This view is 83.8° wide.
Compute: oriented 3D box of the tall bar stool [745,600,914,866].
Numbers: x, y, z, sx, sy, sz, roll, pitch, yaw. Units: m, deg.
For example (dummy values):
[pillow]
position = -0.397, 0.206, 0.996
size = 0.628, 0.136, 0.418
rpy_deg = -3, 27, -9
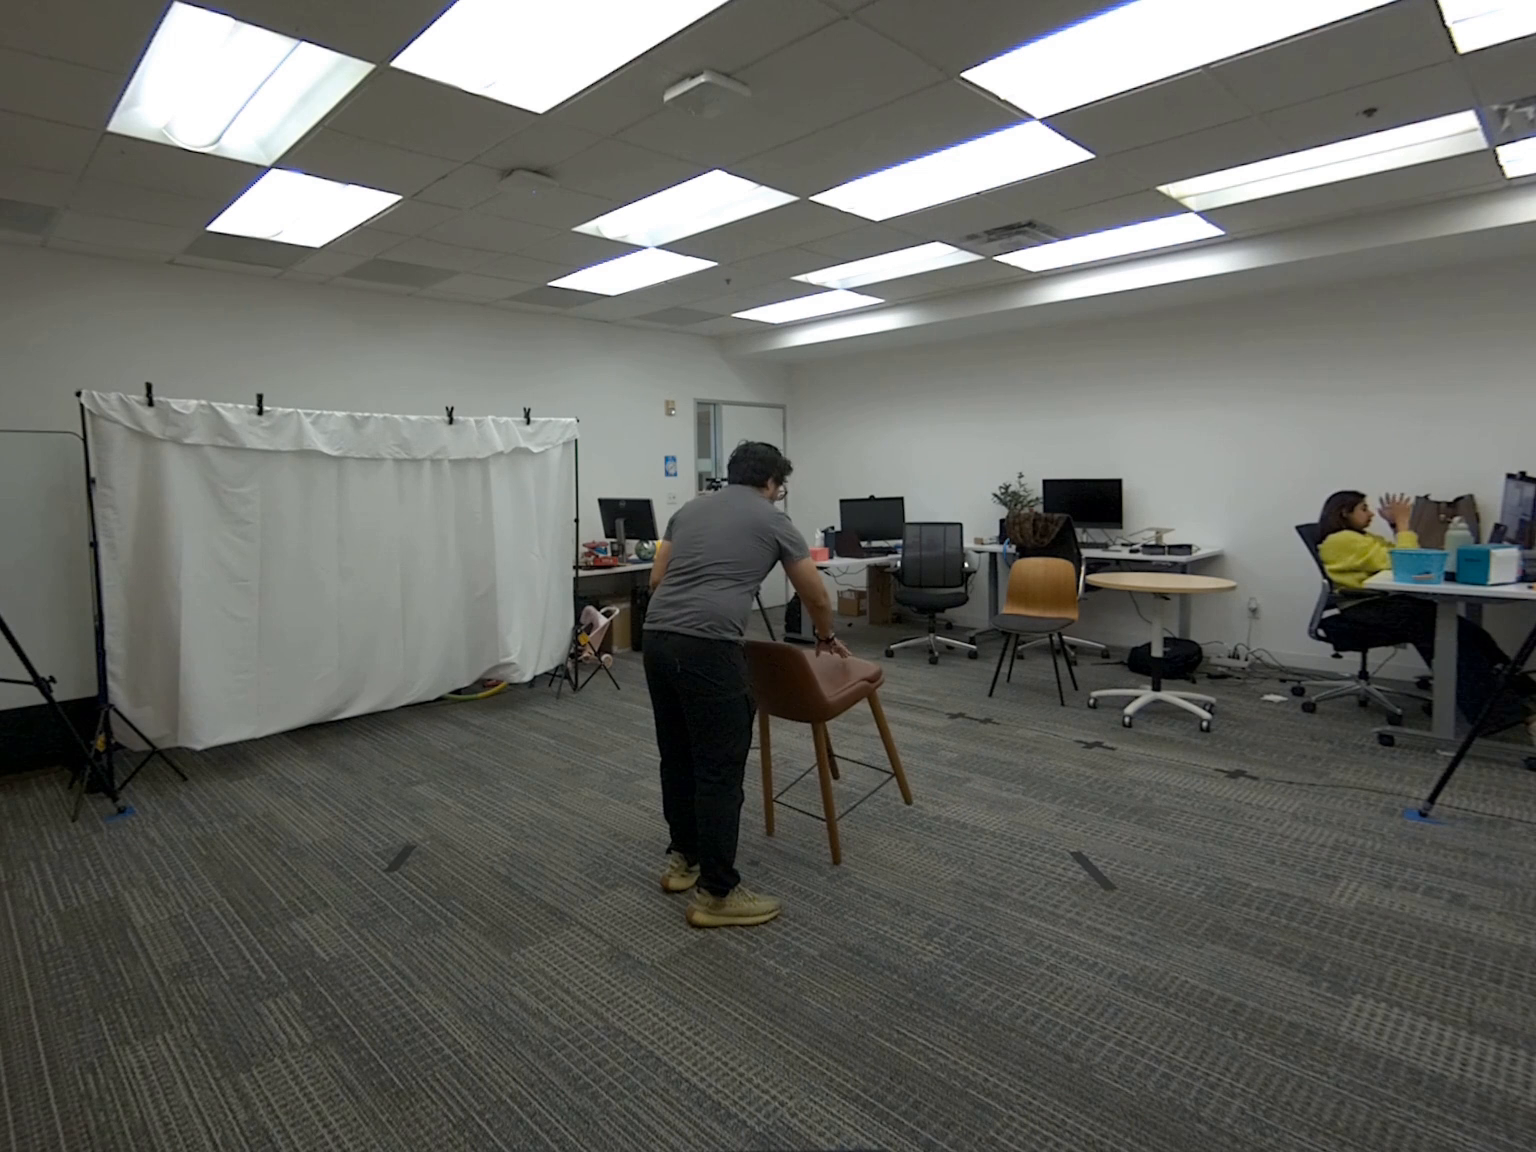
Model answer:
[tall bar stool]
position = 0.185, 0.548, 3.250
size = 0.461, 0.875, 0.470
rpy_deg = -26, 19, -38
